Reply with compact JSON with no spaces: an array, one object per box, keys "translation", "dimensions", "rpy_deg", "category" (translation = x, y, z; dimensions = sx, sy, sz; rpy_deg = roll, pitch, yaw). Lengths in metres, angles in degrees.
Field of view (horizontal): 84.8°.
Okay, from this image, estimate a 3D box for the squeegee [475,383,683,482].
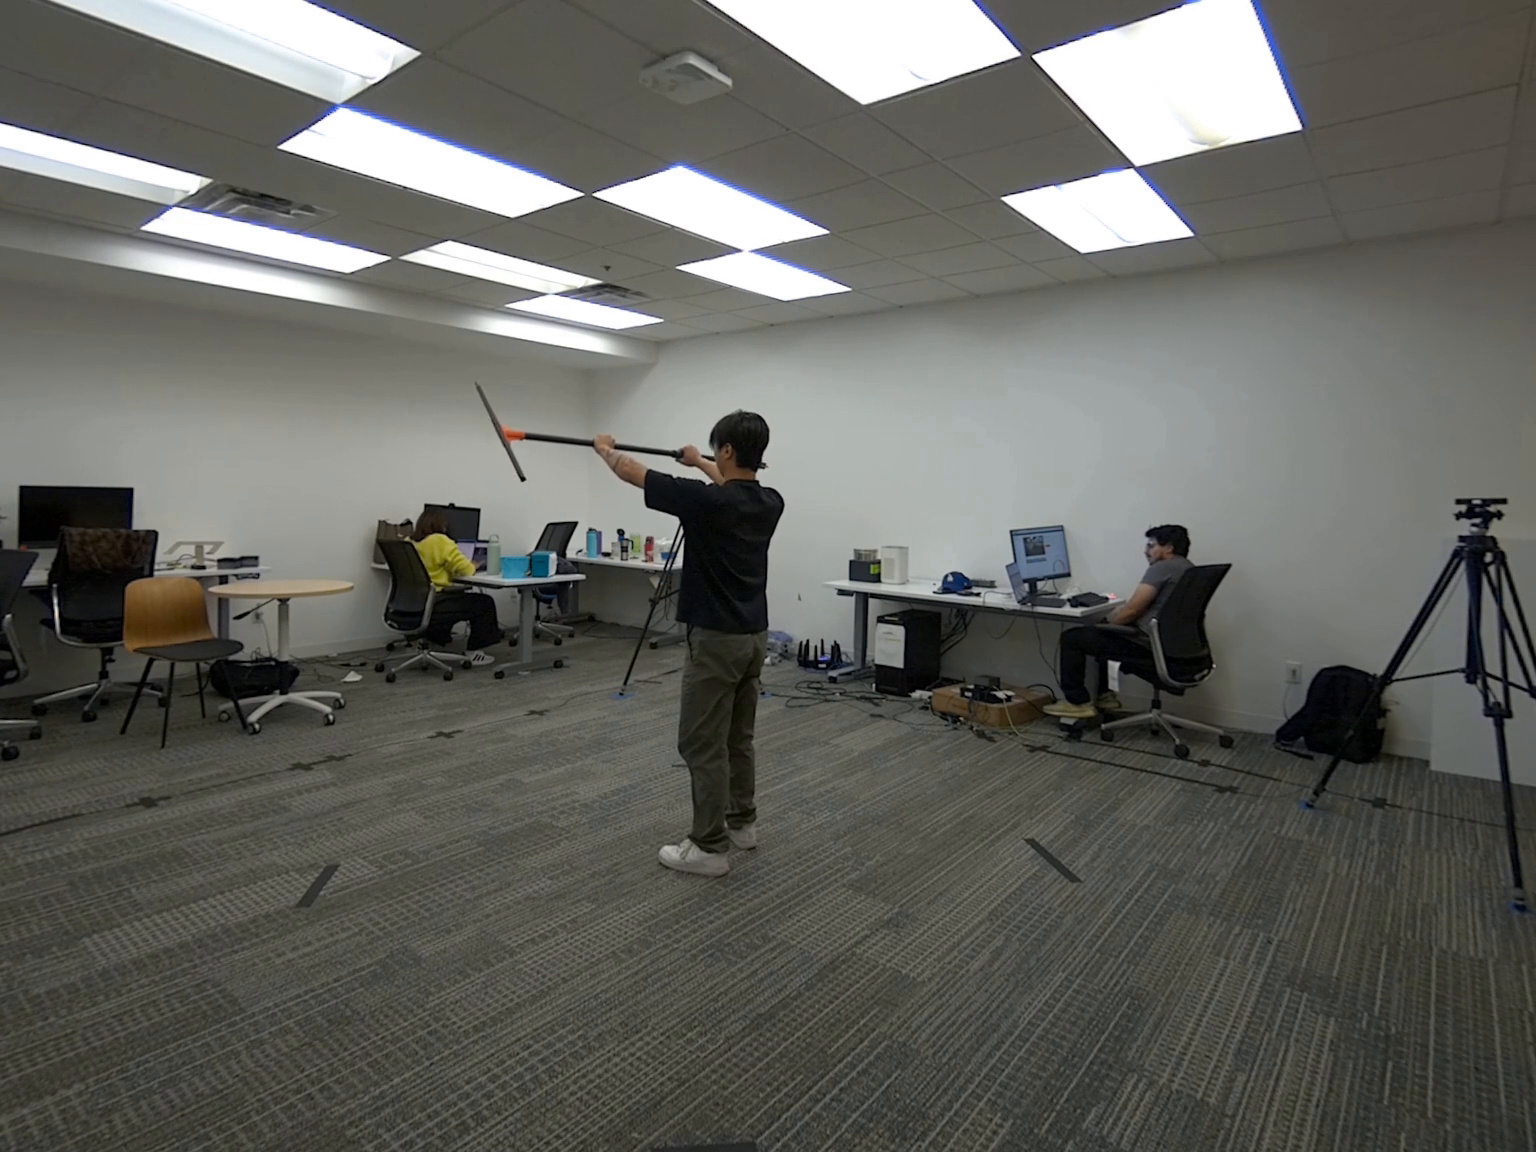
[{"translation":[-0.489,-0.500,3.493],"dimensions":[1.490,0.451,0.053],"rpy_deg":[-1,-40,-52],"category":"squeegee"}]
